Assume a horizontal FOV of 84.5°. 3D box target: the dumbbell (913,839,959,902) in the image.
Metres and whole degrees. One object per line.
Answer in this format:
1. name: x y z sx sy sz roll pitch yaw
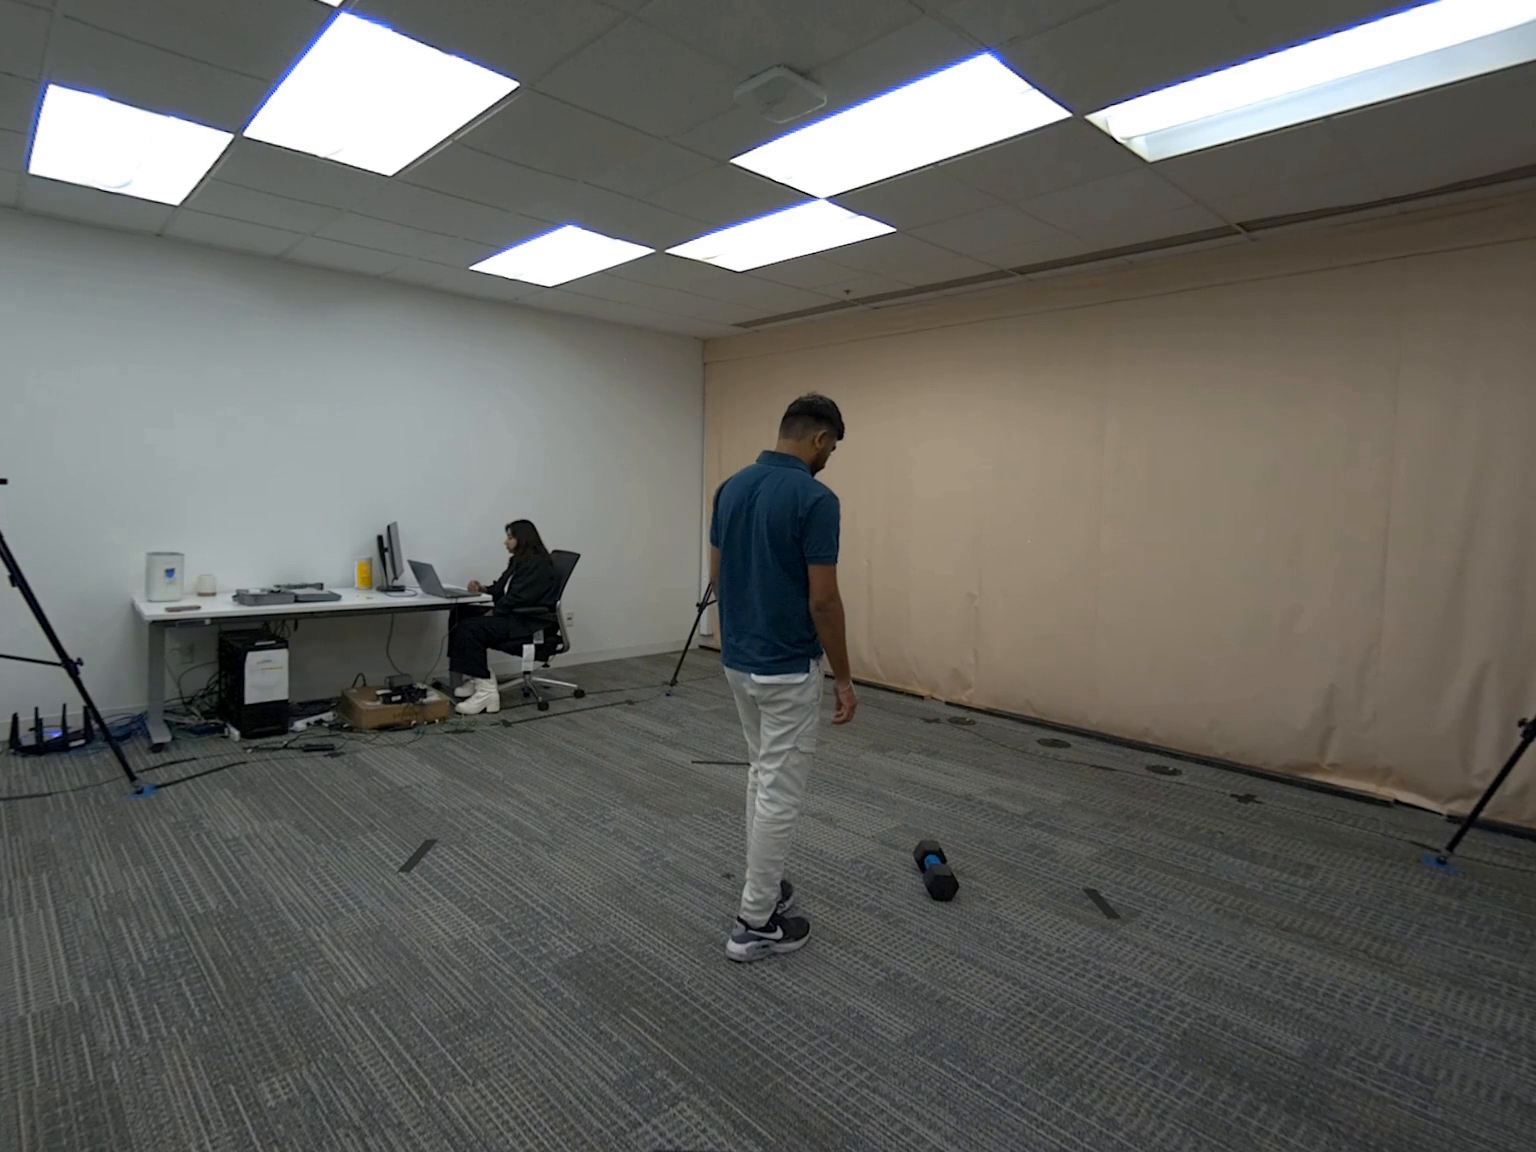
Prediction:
1. dumbbell: 0.605 1.075 3.083 0.108 0.123 0.294 31 4 -2
